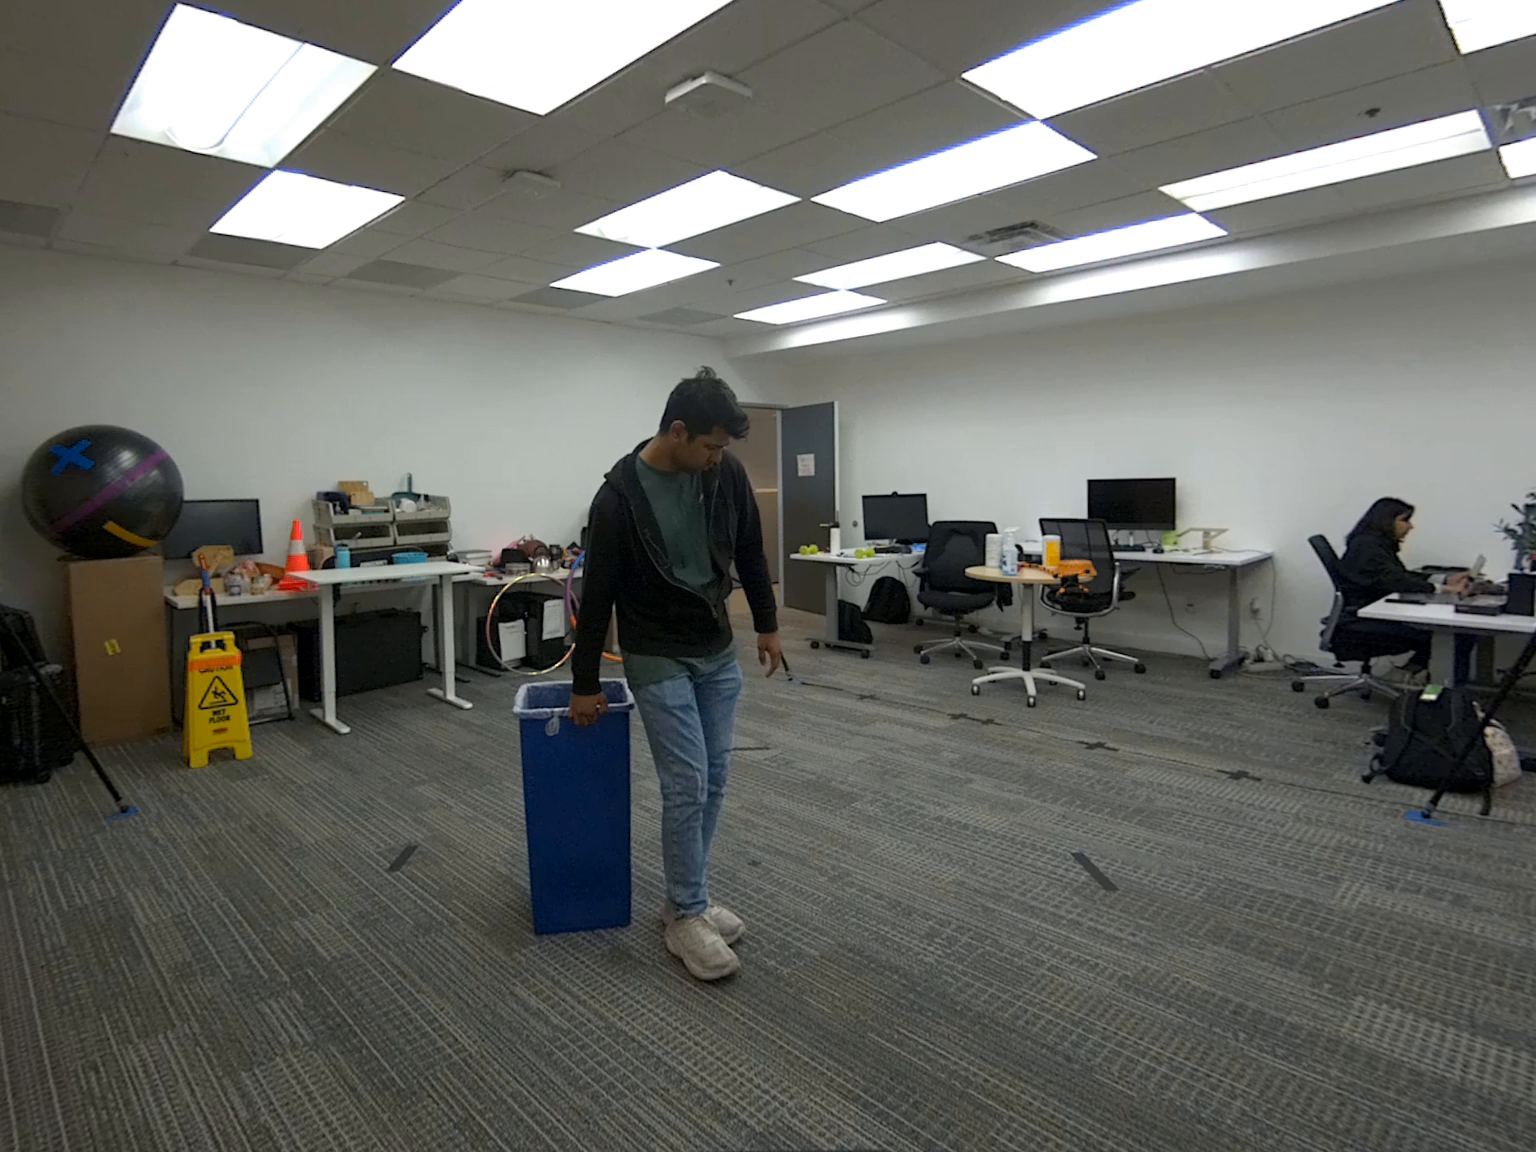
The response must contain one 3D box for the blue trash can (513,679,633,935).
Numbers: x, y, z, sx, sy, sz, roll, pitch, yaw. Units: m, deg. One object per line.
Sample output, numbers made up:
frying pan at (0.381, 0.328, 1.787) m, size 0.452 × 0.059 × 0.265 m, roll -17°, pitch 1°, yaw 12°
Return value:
blue trash can at (-0.605, 0.733, 2.793) m, size 0.371 × 0.711 × 0.383 m, roll -3°, pitch 4°, yaw -10°
